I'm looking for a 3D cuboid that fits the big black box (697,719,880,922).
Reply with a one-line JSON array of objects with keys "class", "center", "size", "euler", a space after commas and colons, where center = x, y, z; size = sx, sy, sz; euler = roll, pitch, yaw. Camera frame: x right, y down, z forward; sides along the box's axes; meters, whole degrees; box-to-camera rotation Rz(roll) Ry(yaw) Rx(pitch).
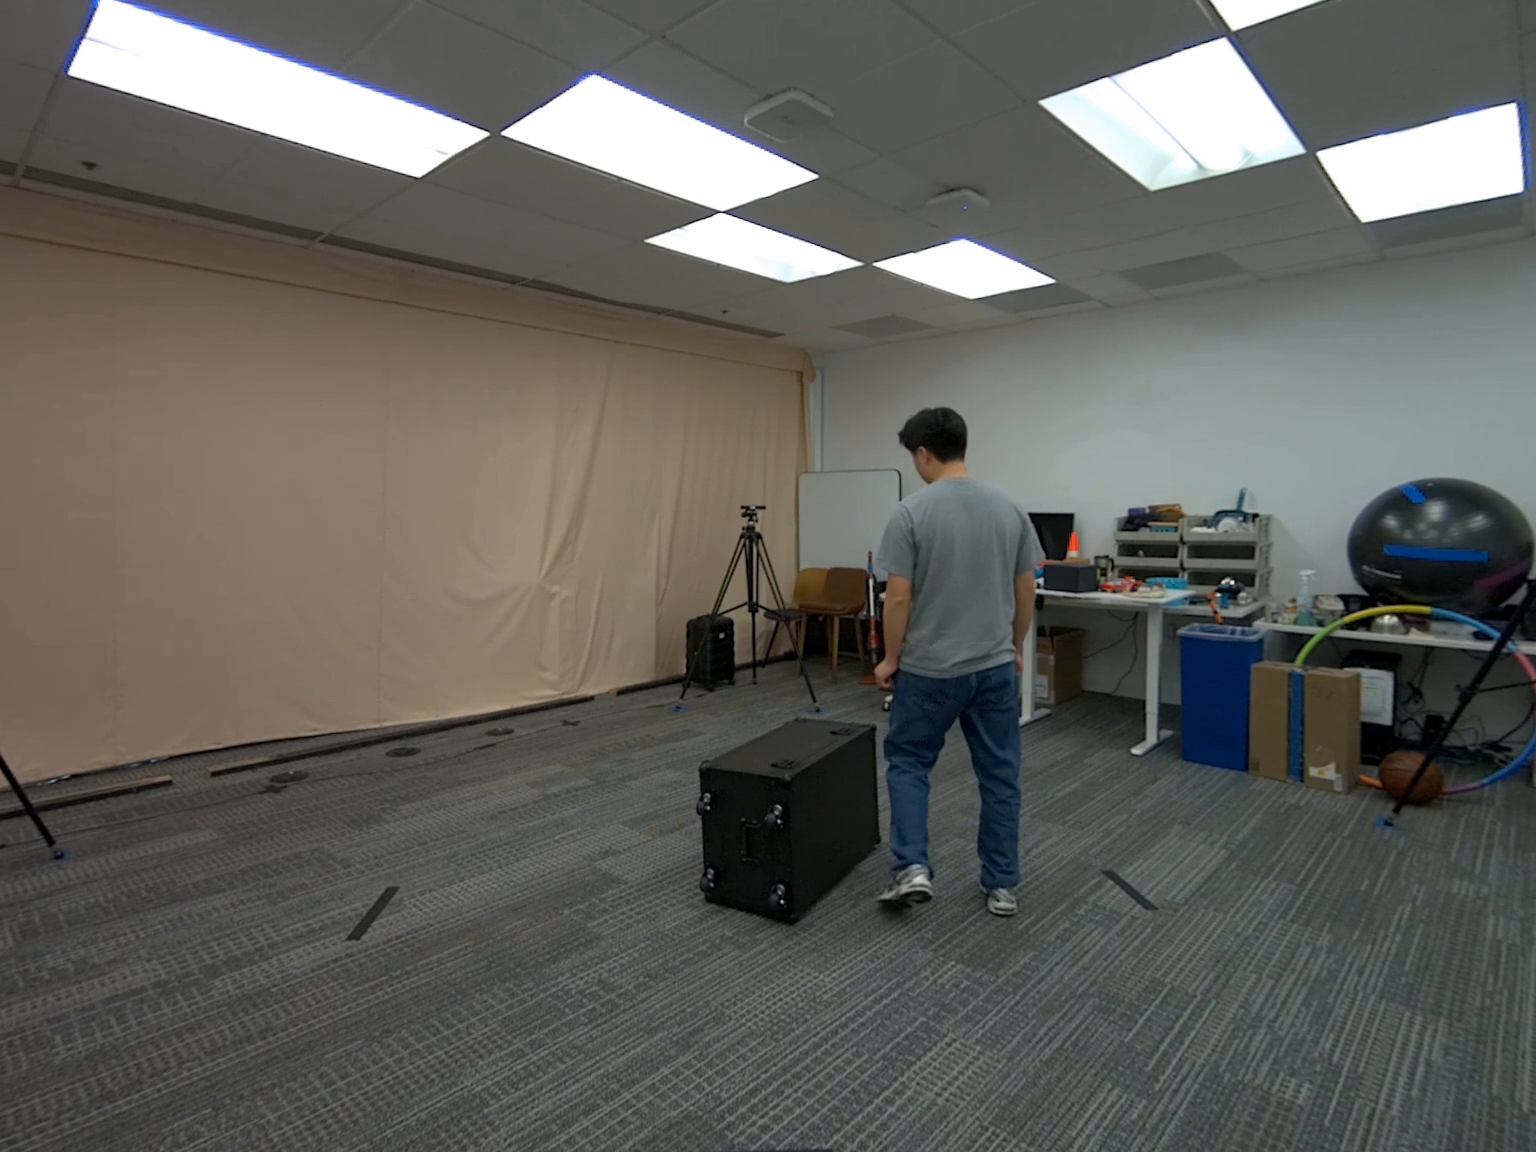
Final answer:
[{"class": "big black box", "center": [0.083, 0.871, 3.168], "size": [0.407, 0.520, 0.839], "euler": [-1, 3, 29]}]
